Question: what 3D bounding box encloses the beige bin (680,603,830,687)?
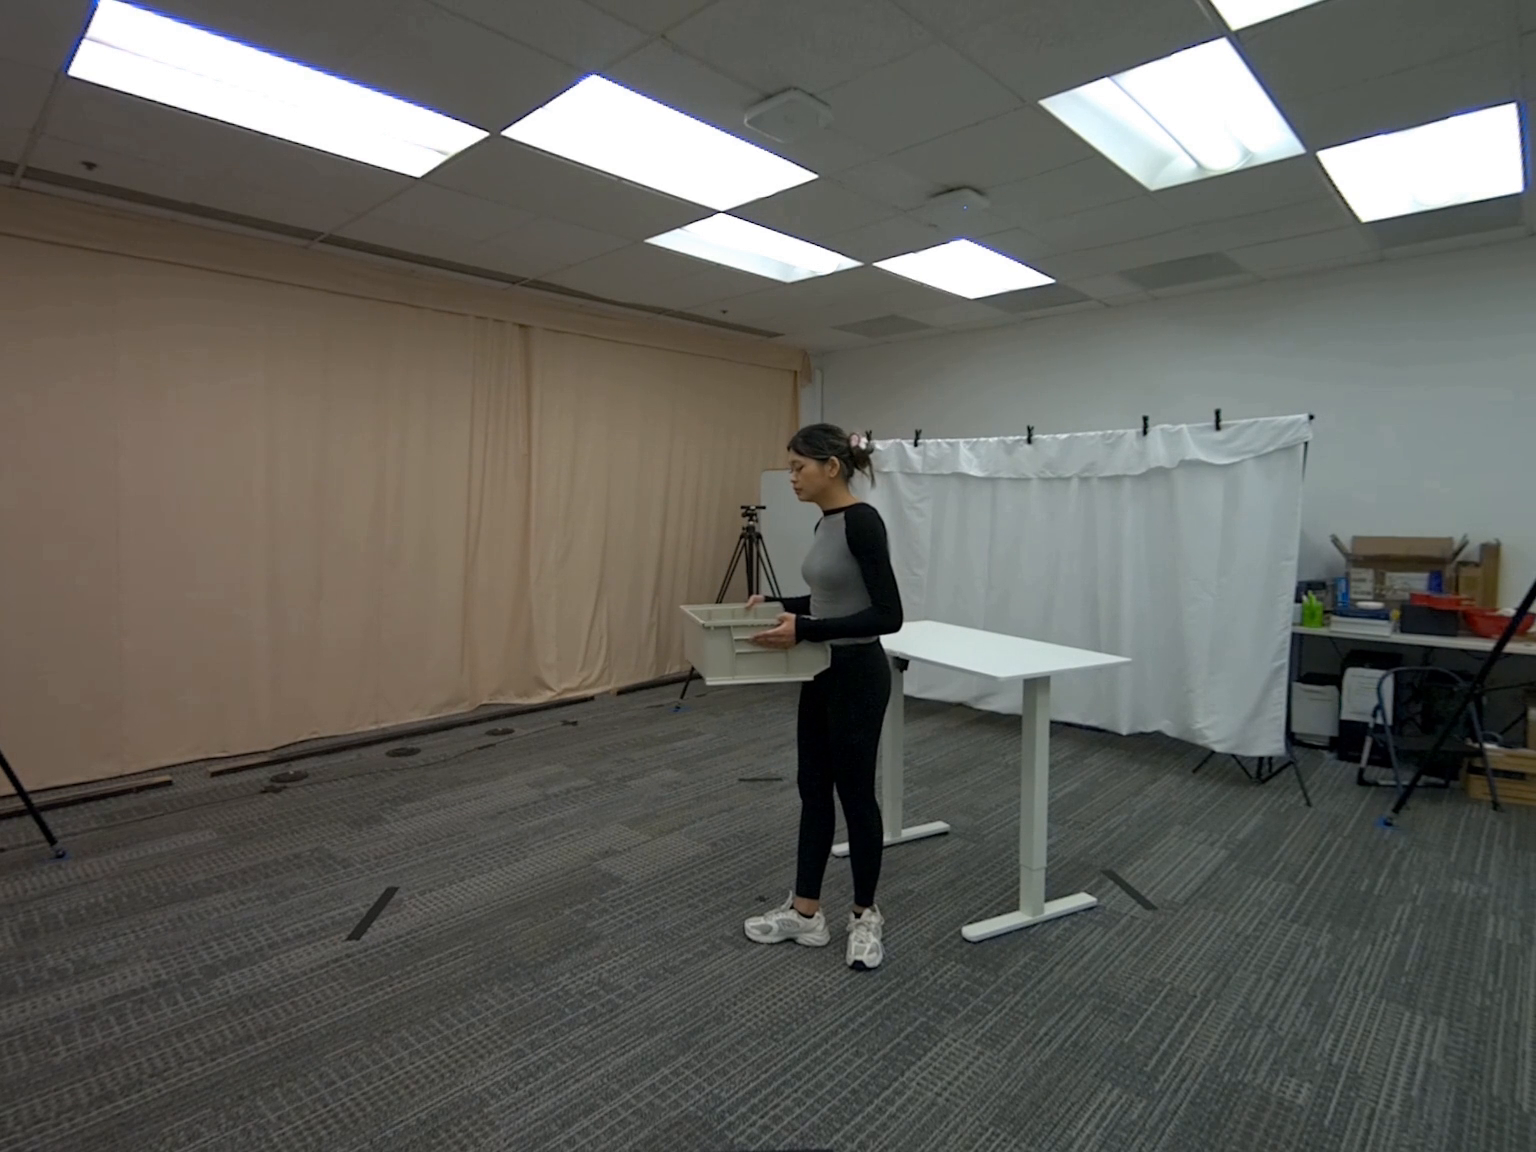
[{"bbox_3d":[-0.048,0.197,2.580,0.372,0.188,0.429,-3,5,-14],"label":"beige bin"}]
